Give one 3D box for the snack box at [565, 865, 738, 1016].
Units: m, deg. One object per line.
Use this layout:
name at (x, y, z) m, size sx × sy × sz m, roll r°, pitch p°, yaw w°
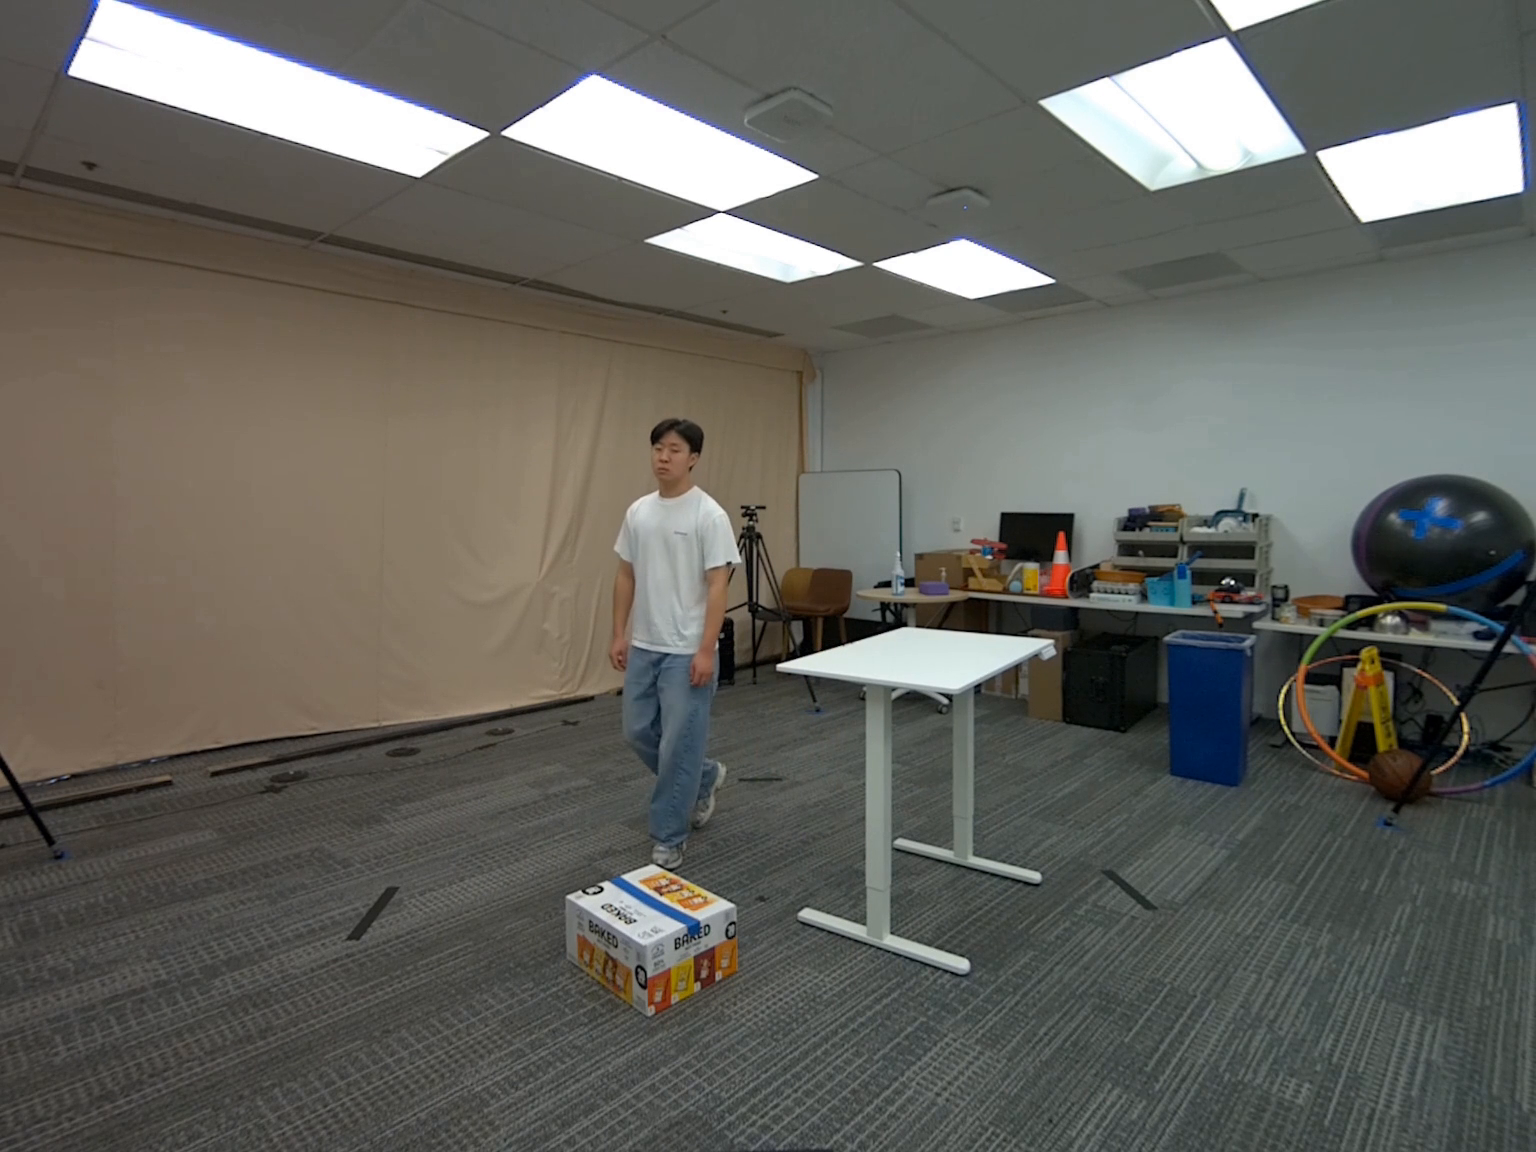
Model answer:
snack box at (-0.353, 1.080, 2.542) m, size 0.330 × 0.205 × 0.419 m, roll -4°, pitch 6°, yaw -44°
